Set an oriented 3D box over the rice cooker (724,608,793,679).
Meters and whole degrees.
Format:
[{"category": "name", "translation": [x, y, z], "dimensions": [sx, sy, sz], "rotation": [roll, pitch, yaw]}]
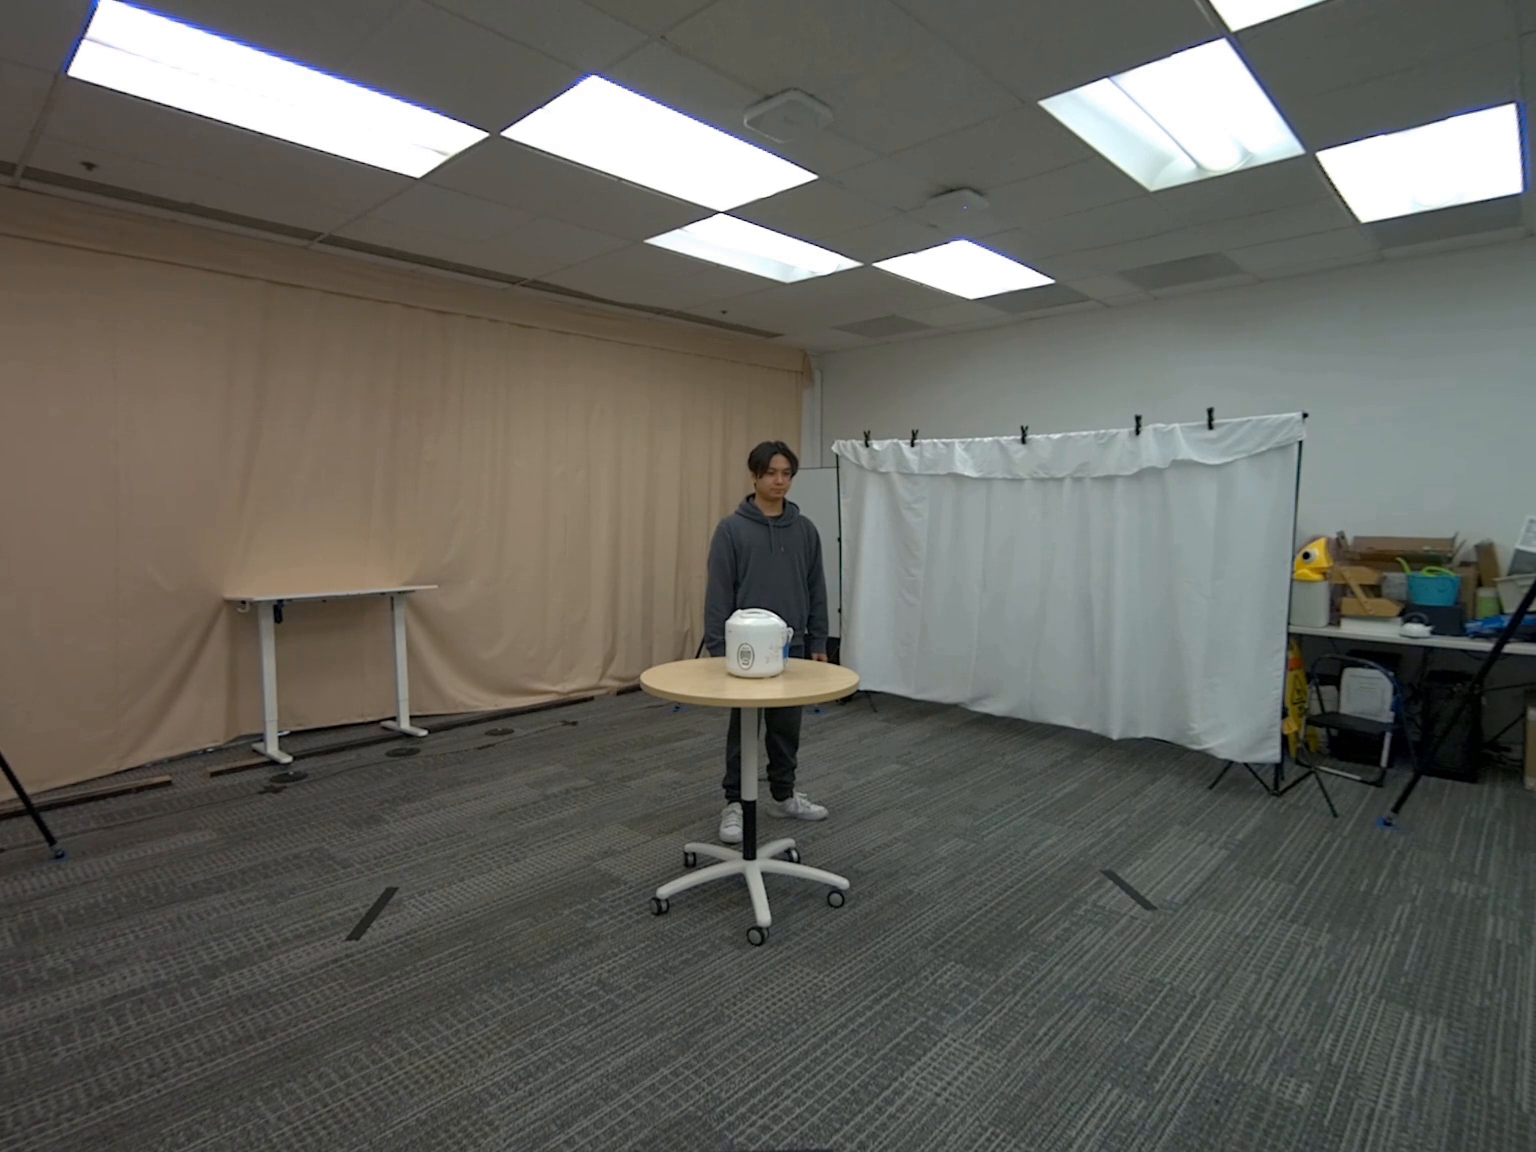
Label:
[{"category": "rice cooker", "translation": [-0.041, 0.230, 2.975], "dimensions": [0.225, 0.232, 0.213], "rotation": [1, 2, 19]}]
